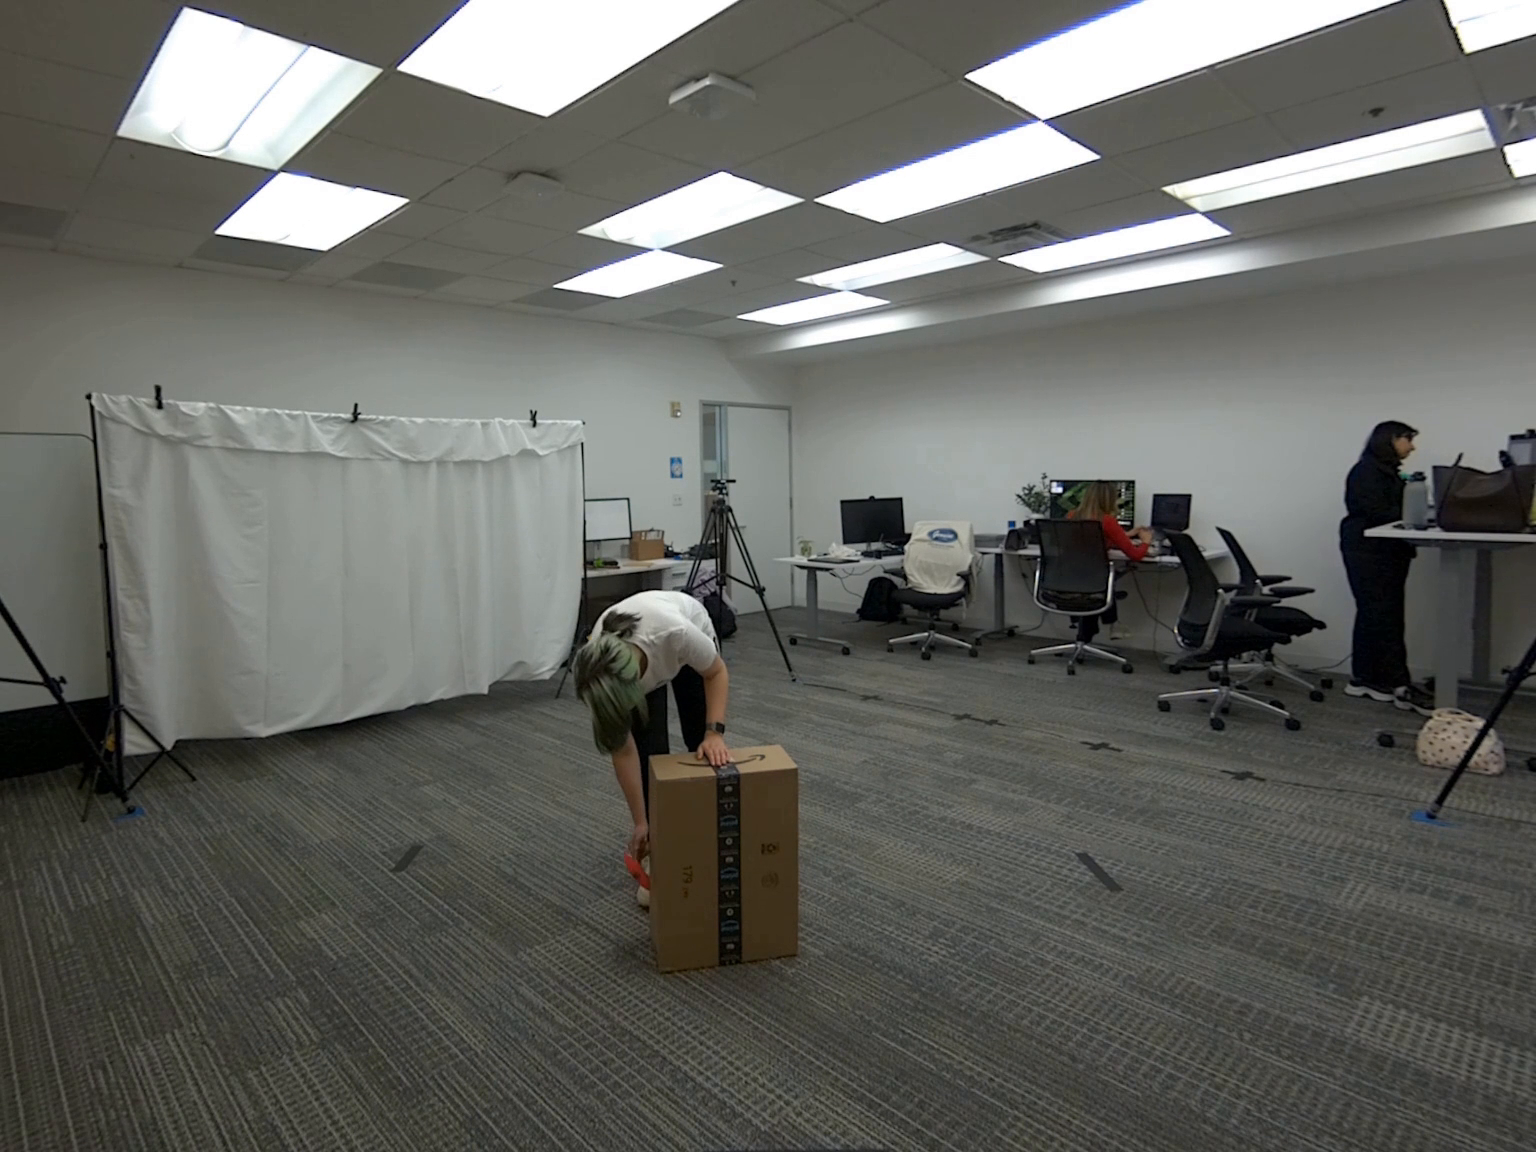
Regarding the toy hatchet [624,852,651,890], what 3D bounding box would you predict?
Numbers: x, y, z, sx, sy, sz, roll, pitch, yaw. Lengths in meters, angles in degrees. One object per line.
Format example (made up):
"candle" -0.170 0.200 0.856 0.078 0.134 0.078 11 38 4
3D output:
"toy hatchet" -0.348 0.869 2.544 0.029 0.133 0.265 -36 -11 1
